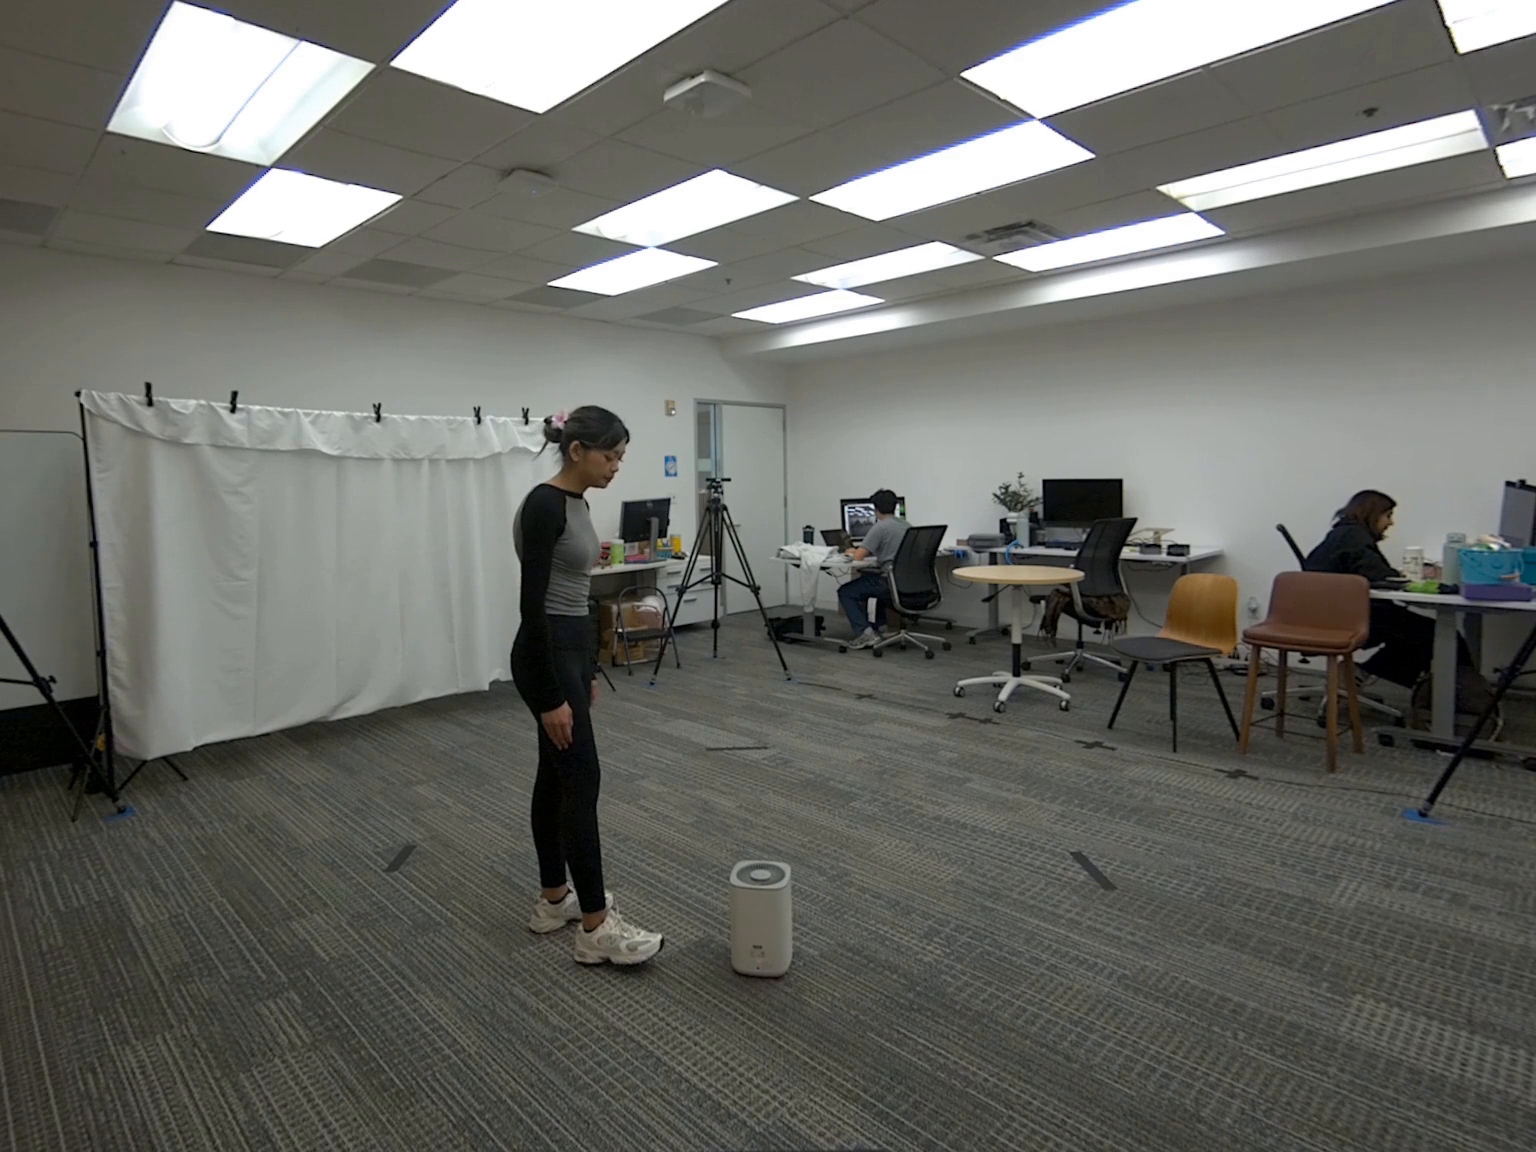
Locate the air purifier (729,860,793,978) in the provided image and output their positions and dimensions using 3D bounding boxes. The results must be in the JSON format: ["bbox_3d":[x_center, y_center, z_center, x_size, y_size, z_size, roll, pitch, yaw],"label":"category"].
[{"bbox_3d":[-0.013,0.979,2.456,0.173,0.265,0.170,0,3,9],"label":"air purifier"}]
